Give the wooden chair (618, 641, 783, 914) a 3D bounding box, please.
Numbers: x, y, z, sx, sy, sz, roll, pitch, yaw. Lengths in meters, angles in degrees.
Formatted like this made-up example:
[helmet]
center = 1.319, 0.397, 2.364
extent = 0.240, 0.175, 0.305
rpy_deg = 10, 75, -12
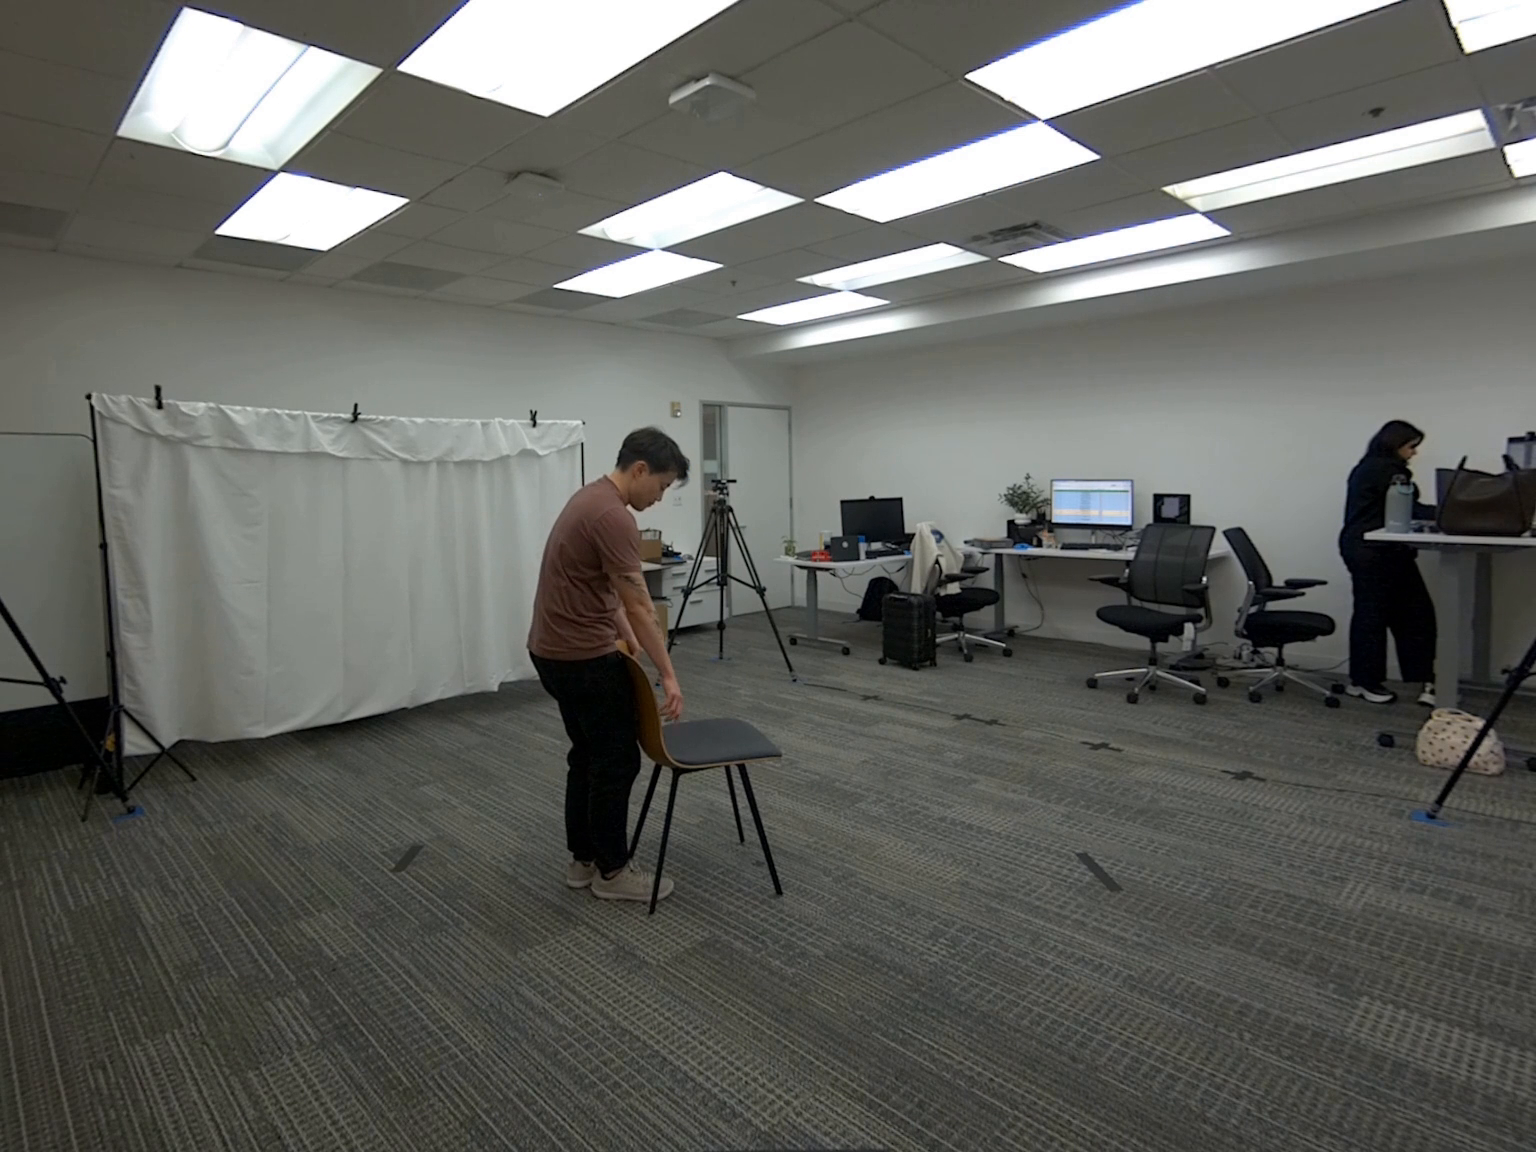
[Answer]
[wooden chair]
center = -0.233, 0.634, 3.000
extent = 0.516, 0.874, 0.487
rpy_deg = -7, 5, -16
